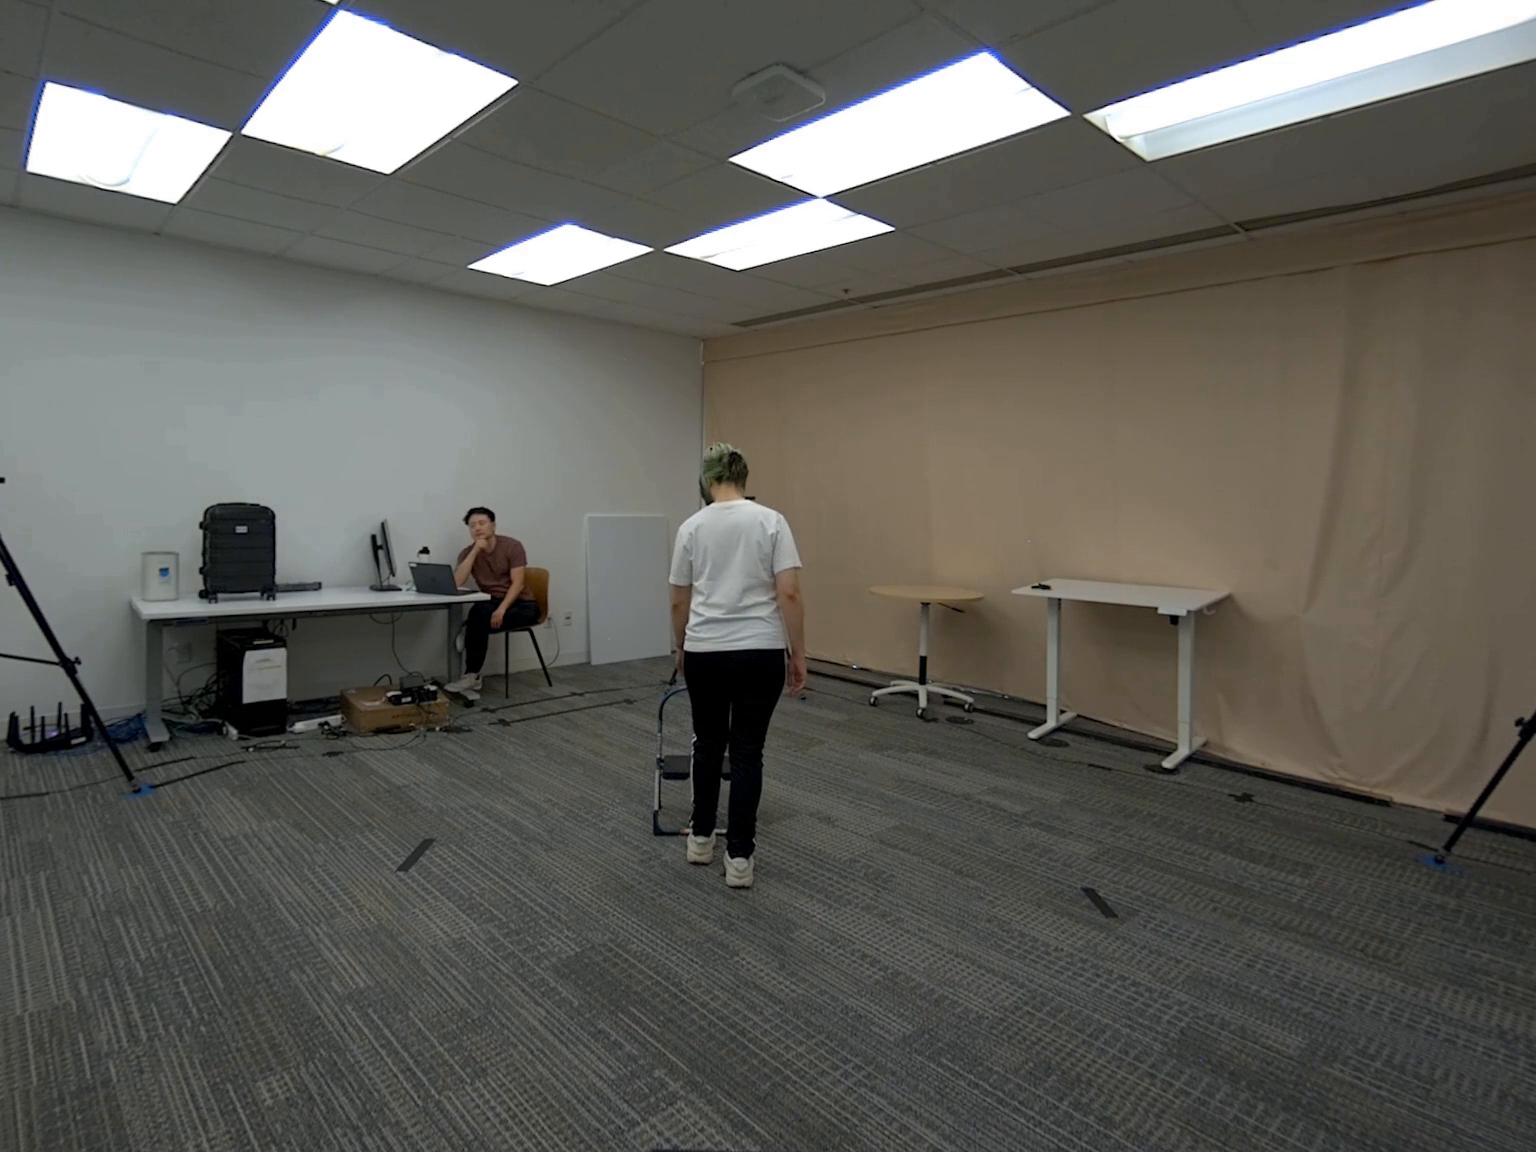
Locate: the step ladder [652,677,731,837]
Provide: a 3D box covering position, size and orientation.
[{"bbox_3d":[-0.281,0.758,3.615,0.429,0.604,0.352,1,3,-6],"label":"step ladder"}]
